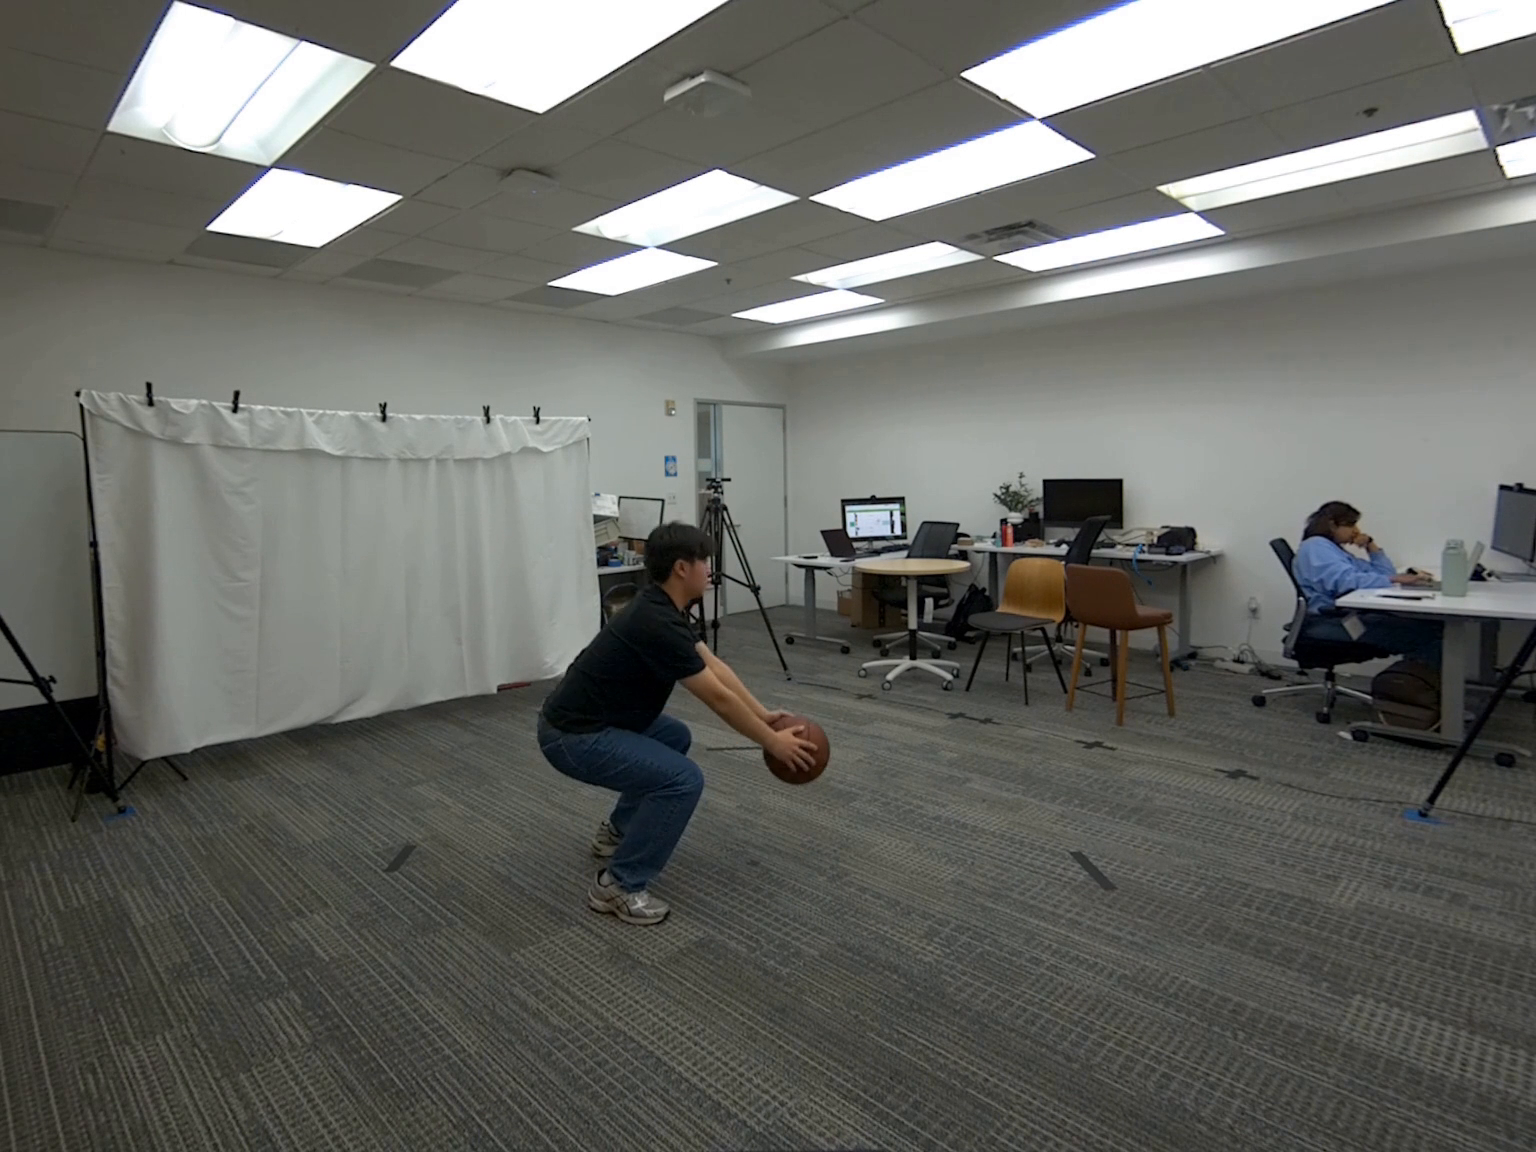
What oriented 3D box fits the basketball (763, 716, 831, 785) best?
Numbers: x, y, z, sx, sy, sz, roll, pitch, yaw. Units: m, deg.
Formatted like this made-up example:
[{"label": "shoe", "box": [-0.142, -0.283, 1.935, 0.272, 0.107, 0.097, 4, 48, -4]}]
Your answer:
[{"label": "basketball", "box": [0.102, 0.601, 3.040, 0.236, 0.235, 0.237, -1, 5, -2]}]
